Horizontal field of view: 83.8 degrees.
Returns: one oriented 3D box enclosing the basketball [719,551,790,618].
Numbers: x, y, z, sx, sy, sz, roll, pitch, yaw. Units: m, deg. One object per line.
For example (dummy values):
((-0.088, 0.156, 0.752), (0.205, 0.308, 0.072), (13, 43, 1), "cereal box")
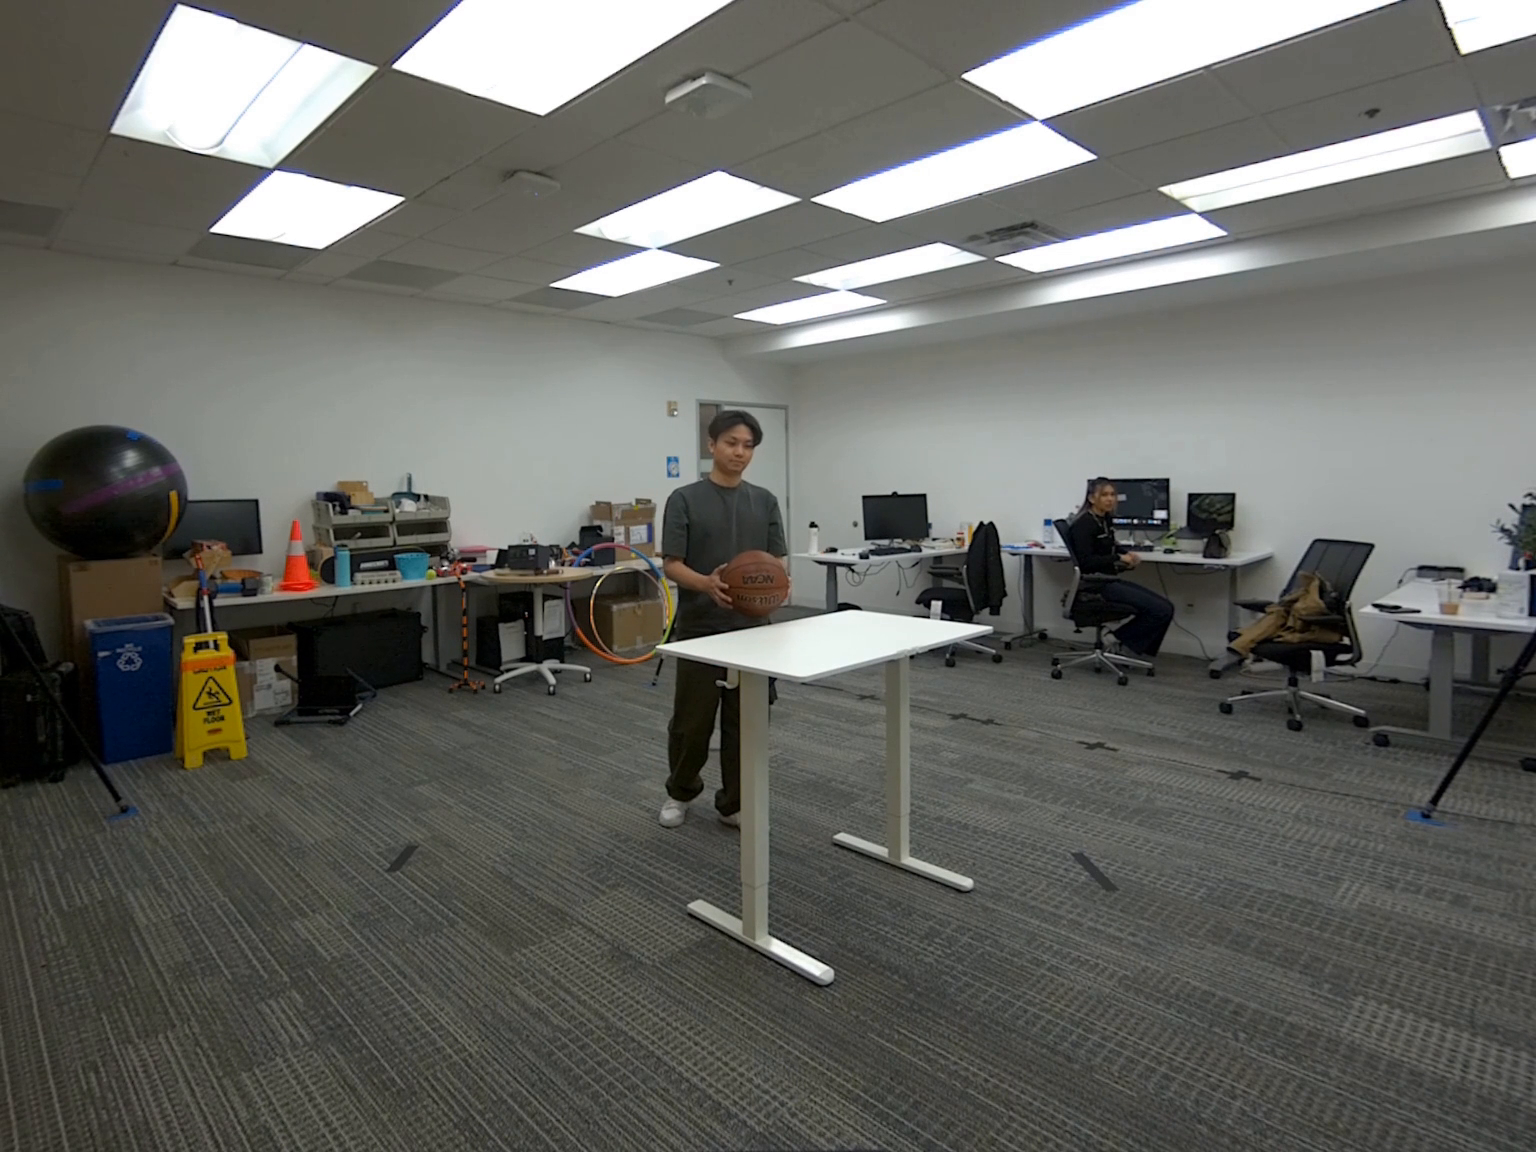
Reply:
((-0.047, 0.029, 3.055), (0.236, 0.235, 0.237), (-1, 5, -2), "basketball")
